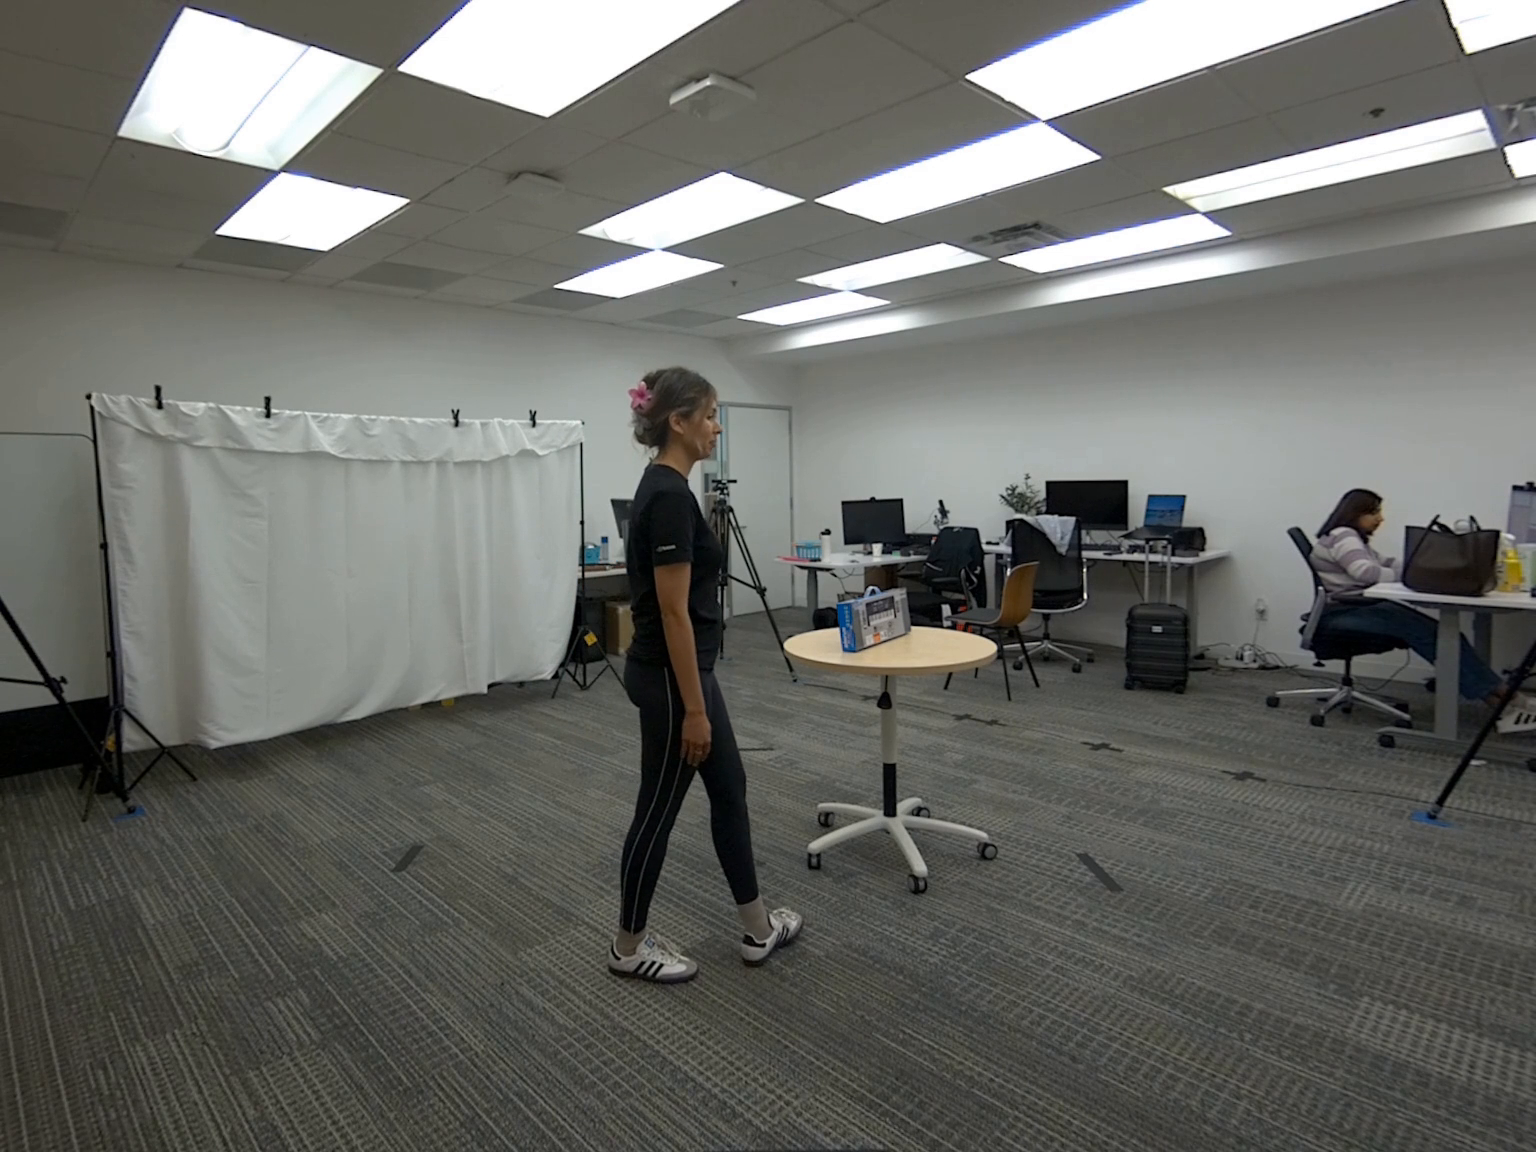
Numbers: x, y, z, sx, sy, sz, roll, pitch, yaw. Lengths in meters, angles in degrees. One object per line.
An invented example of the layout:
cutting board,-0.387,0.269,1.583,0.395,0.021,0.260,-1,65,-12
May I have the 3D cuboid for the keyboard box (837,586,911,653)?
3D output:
keyboard box,0.404,0.160,3.186,0.060,0.176,0.426,-8,1,37
